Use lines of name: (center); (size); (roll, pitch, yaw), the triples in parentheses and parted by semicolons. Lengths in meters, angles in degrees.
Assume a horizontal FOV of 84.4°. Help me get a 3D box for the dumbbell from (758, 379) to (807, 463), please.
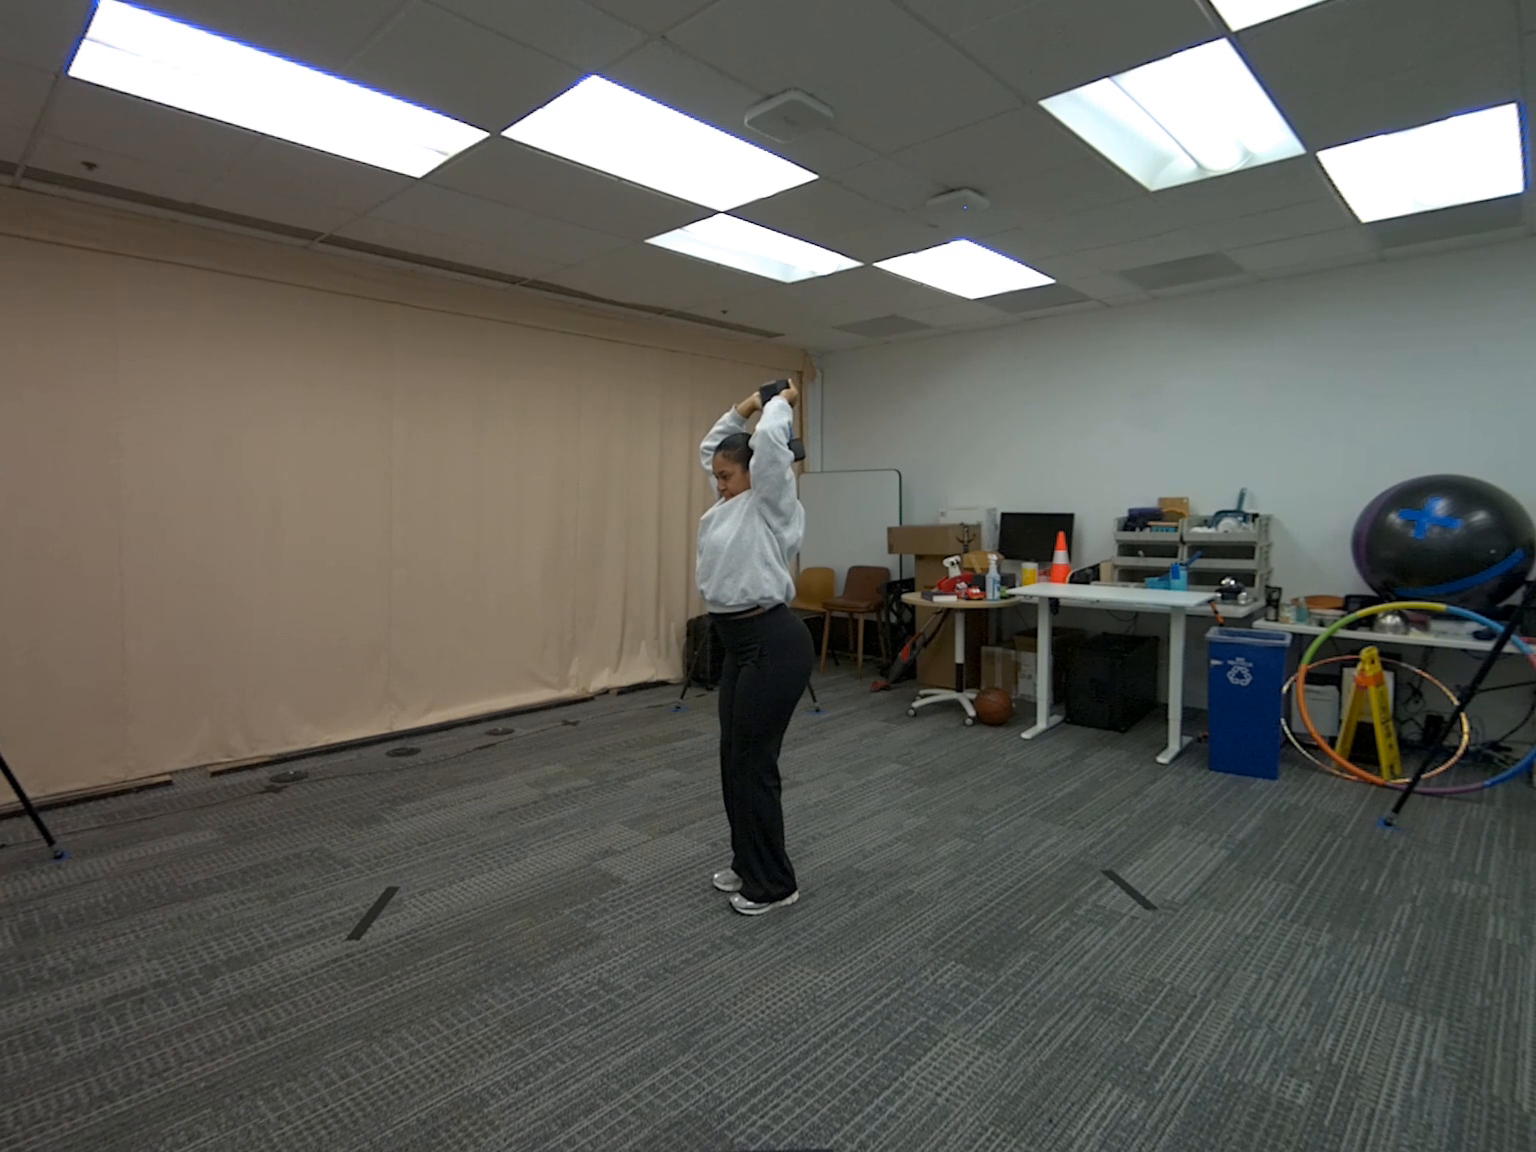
dumbbell: (0.054, -0.546, 2.983); (0.125, 0.293, 0.107); (-11, 3, 24)
